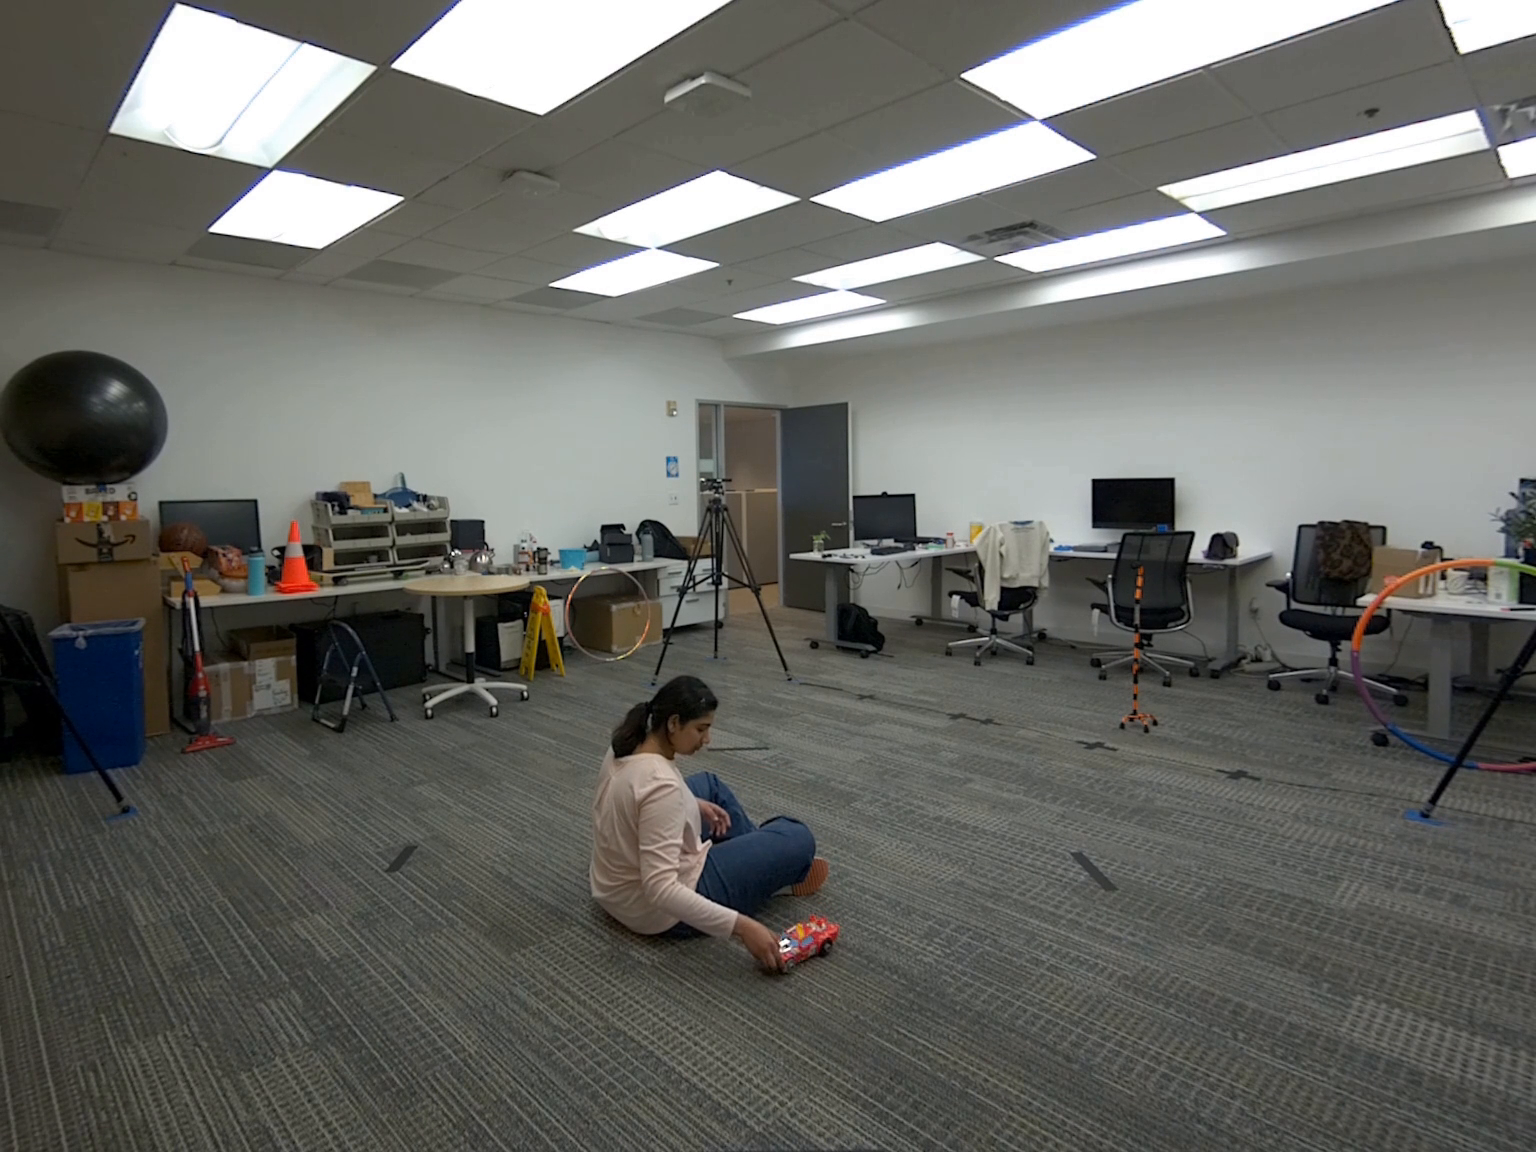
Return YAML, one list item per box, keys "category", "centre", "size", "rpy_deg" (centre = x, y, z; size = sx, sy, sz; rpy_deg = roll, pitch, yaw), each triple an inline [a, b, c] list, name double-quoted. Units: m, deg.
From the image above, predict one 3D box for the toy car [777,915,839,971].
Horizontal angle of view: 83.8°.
- category: "toy car"
  centre: [0.095, 1.073, 2.511]
  size: [0.250, 0.082, 0.134]
  rpy_deg: [-20, 18, -36]
